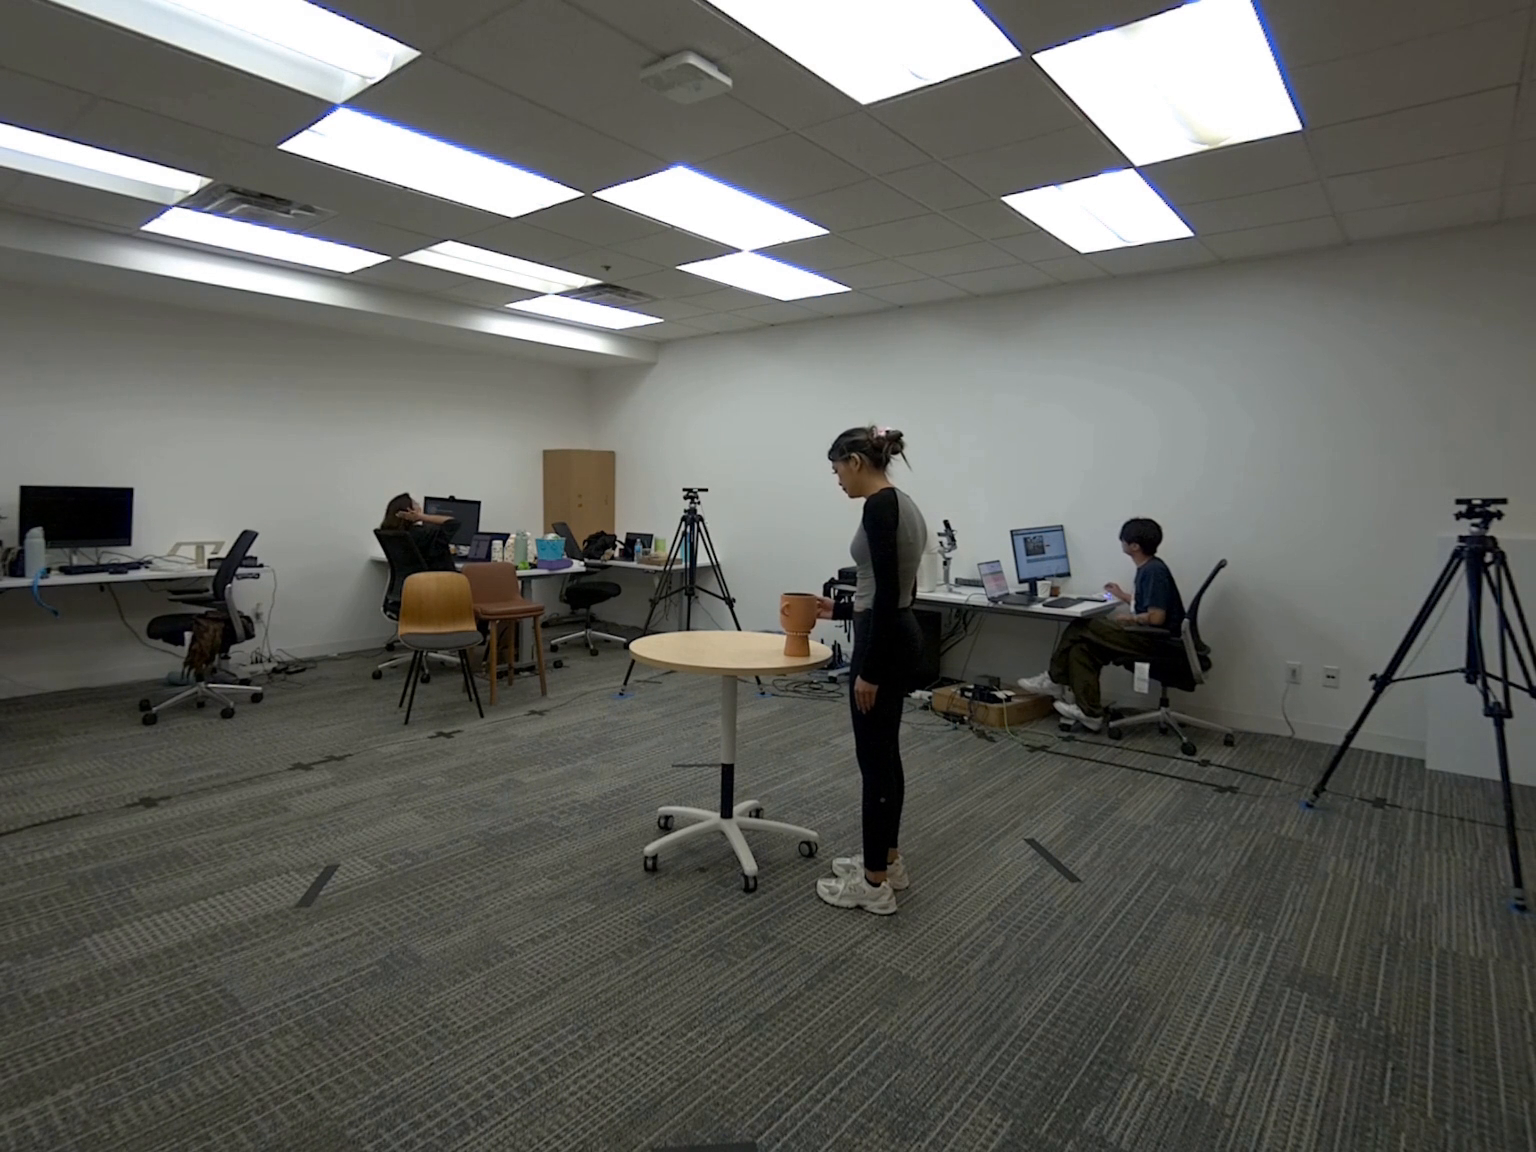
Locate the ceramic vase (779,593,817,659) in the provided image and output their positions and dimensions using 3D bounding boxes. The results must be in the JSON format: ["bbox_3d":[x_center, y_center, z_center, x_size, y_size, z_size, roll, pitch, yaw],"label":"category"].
[{"bbox_3d":[0.104,0.176,3.107,0.157,0.219,0.136,1,3,-9],"label":"ceramic vase"}]
